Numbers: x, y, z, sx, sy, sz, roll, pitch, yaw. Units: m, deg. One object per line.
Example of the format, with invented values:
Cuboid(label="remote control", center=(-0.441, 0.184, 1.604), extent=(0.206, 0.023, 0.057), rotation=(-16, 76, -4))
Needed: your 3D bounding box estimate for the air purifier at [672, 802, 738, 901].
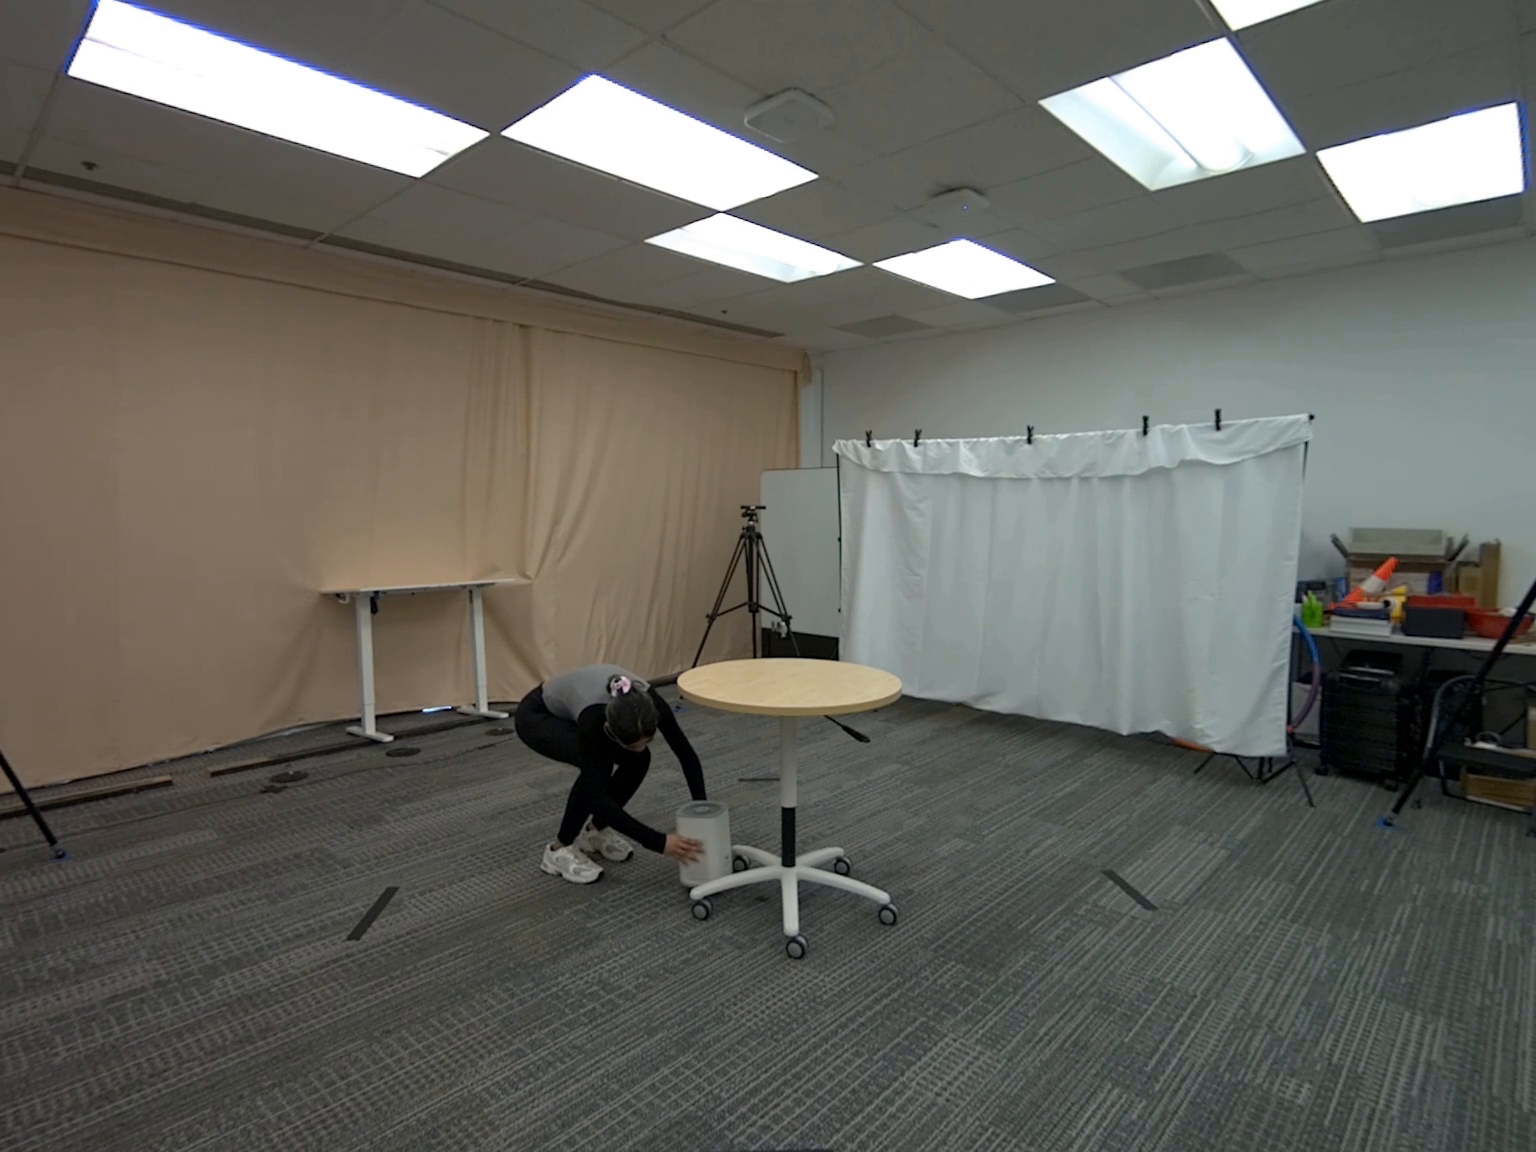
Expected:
Cuboid(label="air purifier", center=(-0.224, 0.979, 3.033), extent=(0.175, 0.265, 0.168), rotation=(4, 3, 18))
